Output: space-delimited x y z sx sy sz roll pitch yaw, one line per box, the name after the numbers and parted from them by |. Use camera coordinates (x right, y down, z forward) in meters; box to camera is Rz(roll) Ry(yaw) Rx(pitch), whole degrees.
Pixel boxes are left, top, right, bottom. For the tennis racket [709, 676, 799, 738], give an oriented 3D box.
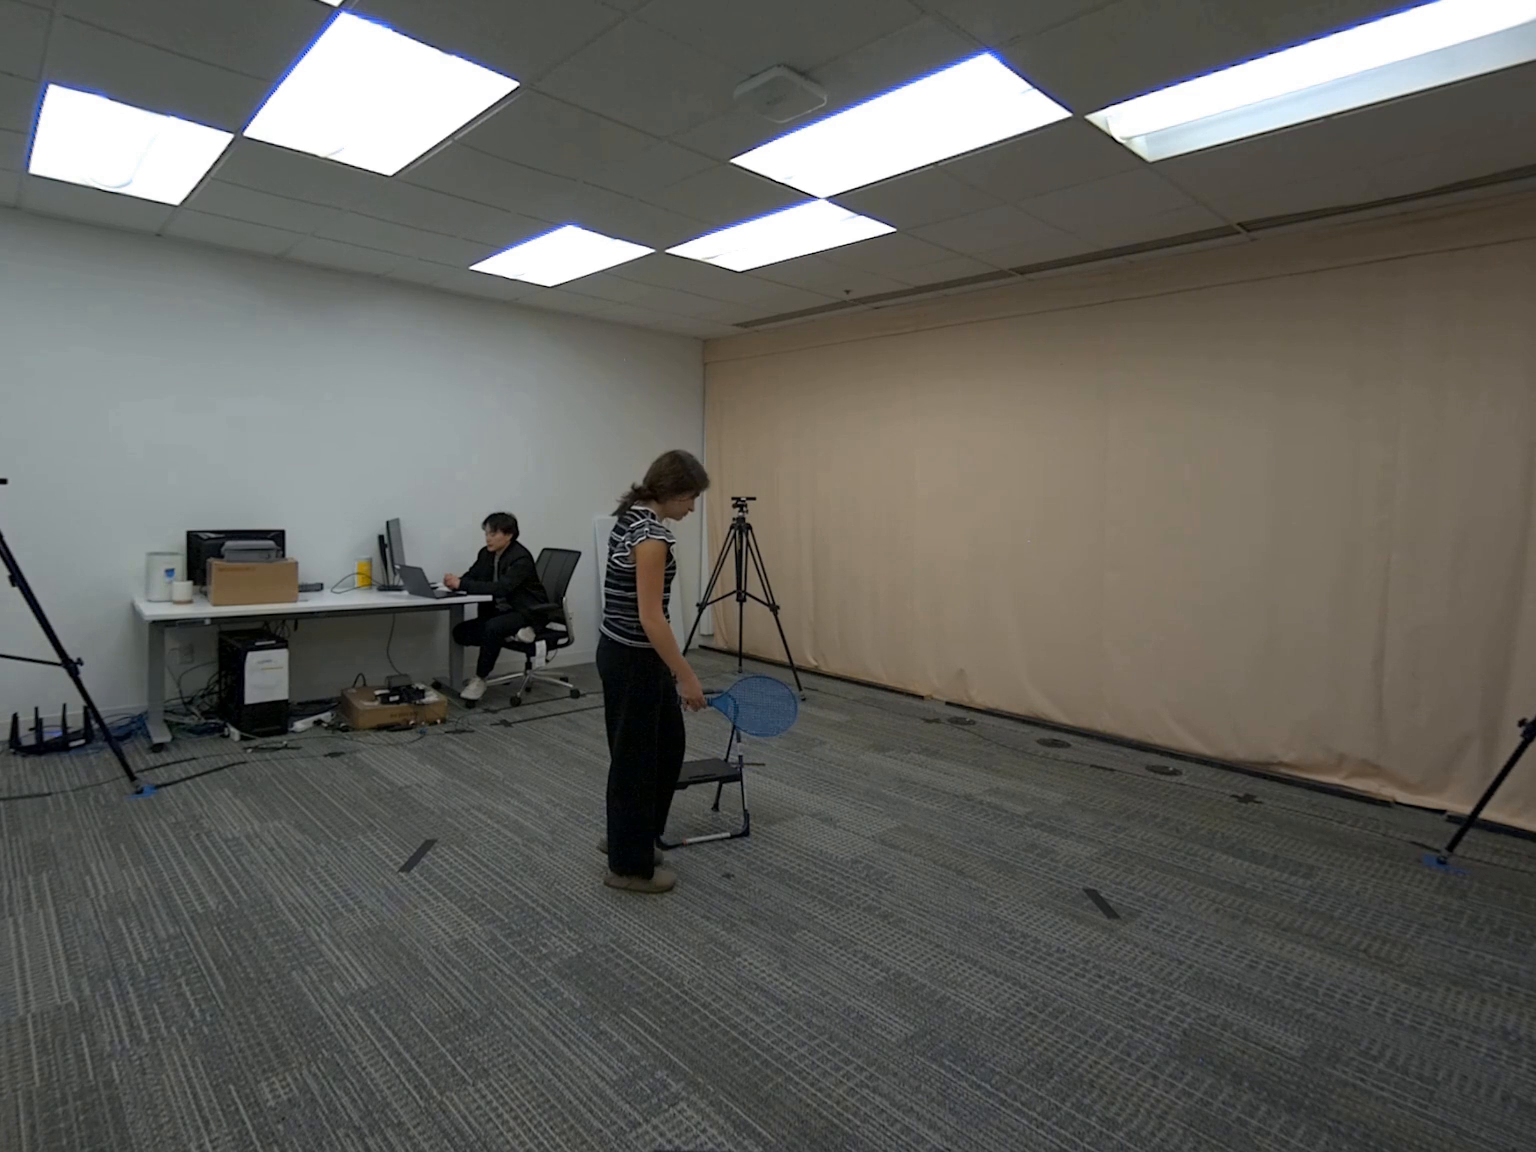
-0.110 0.455 2.931 0.430 0.217 0.031 9 -27 -7 | tennis racket
